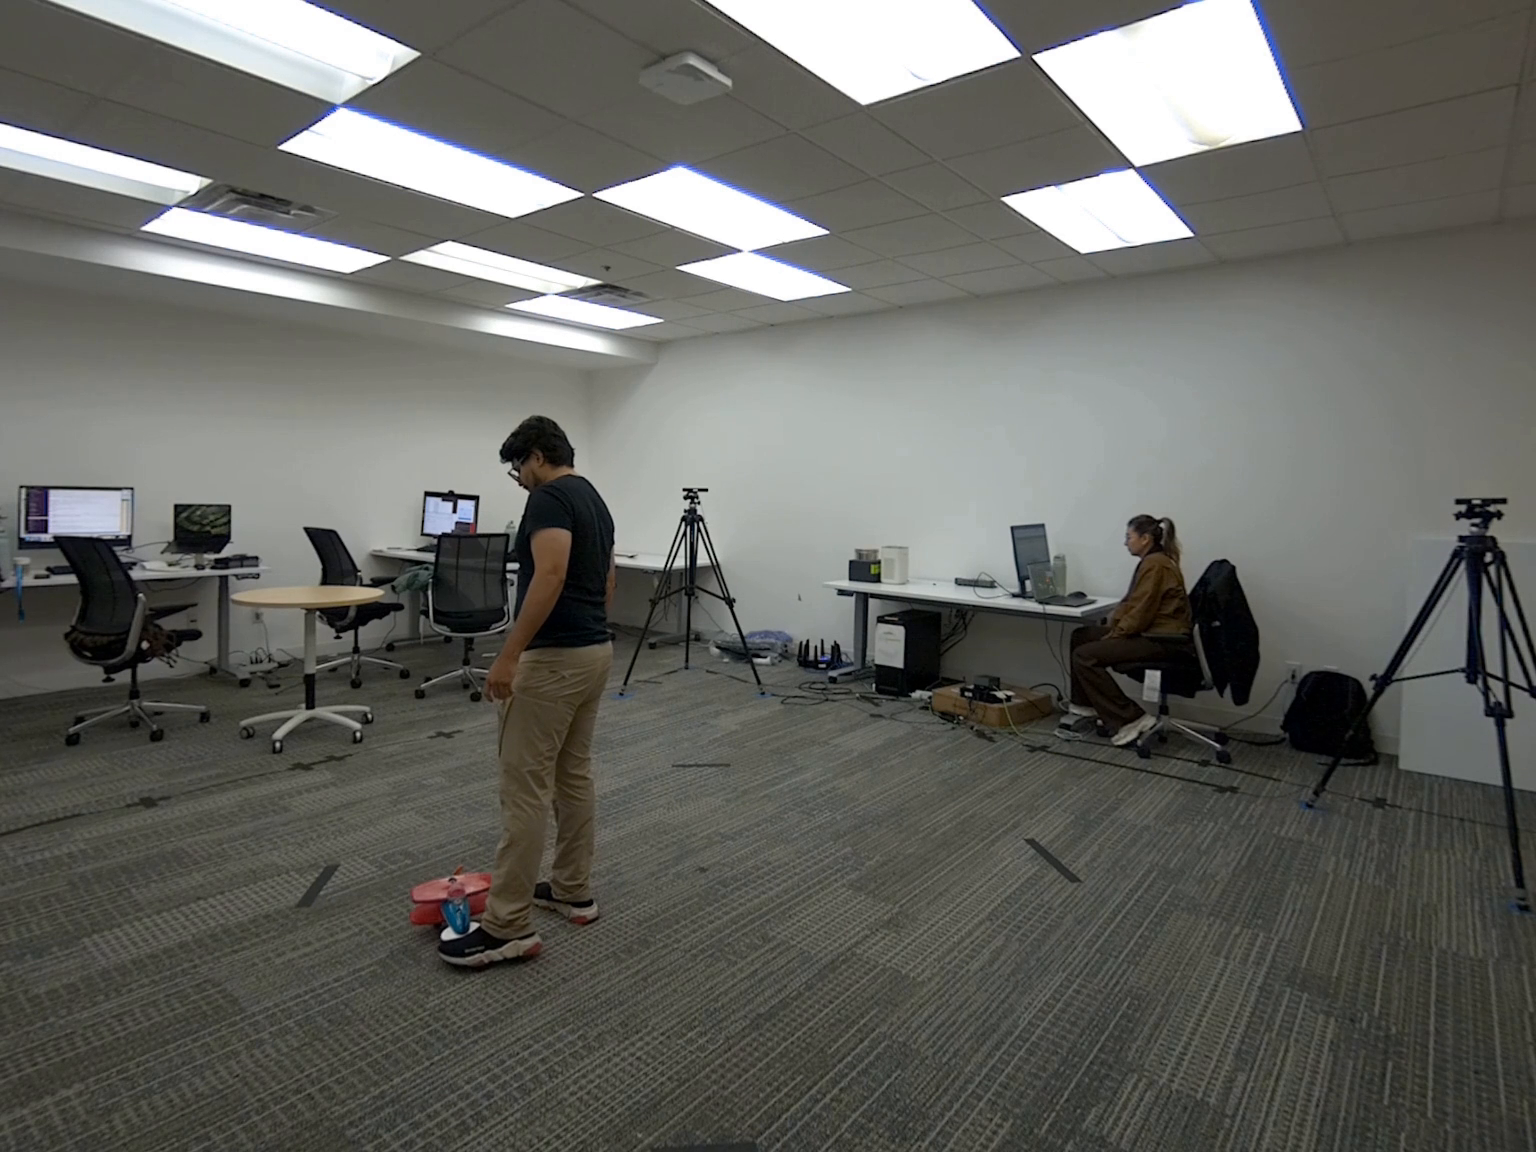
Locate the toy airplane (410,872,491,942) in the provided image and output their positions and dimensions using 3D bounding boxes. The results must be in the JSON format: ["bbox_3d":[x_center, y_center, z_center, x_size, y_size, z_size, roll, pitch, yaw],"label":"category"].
[{"bbox_3d":[-0.967,1.032,2.639,0.267,0.156,0.244,2,5,32],"label":"toy airplane"}]
